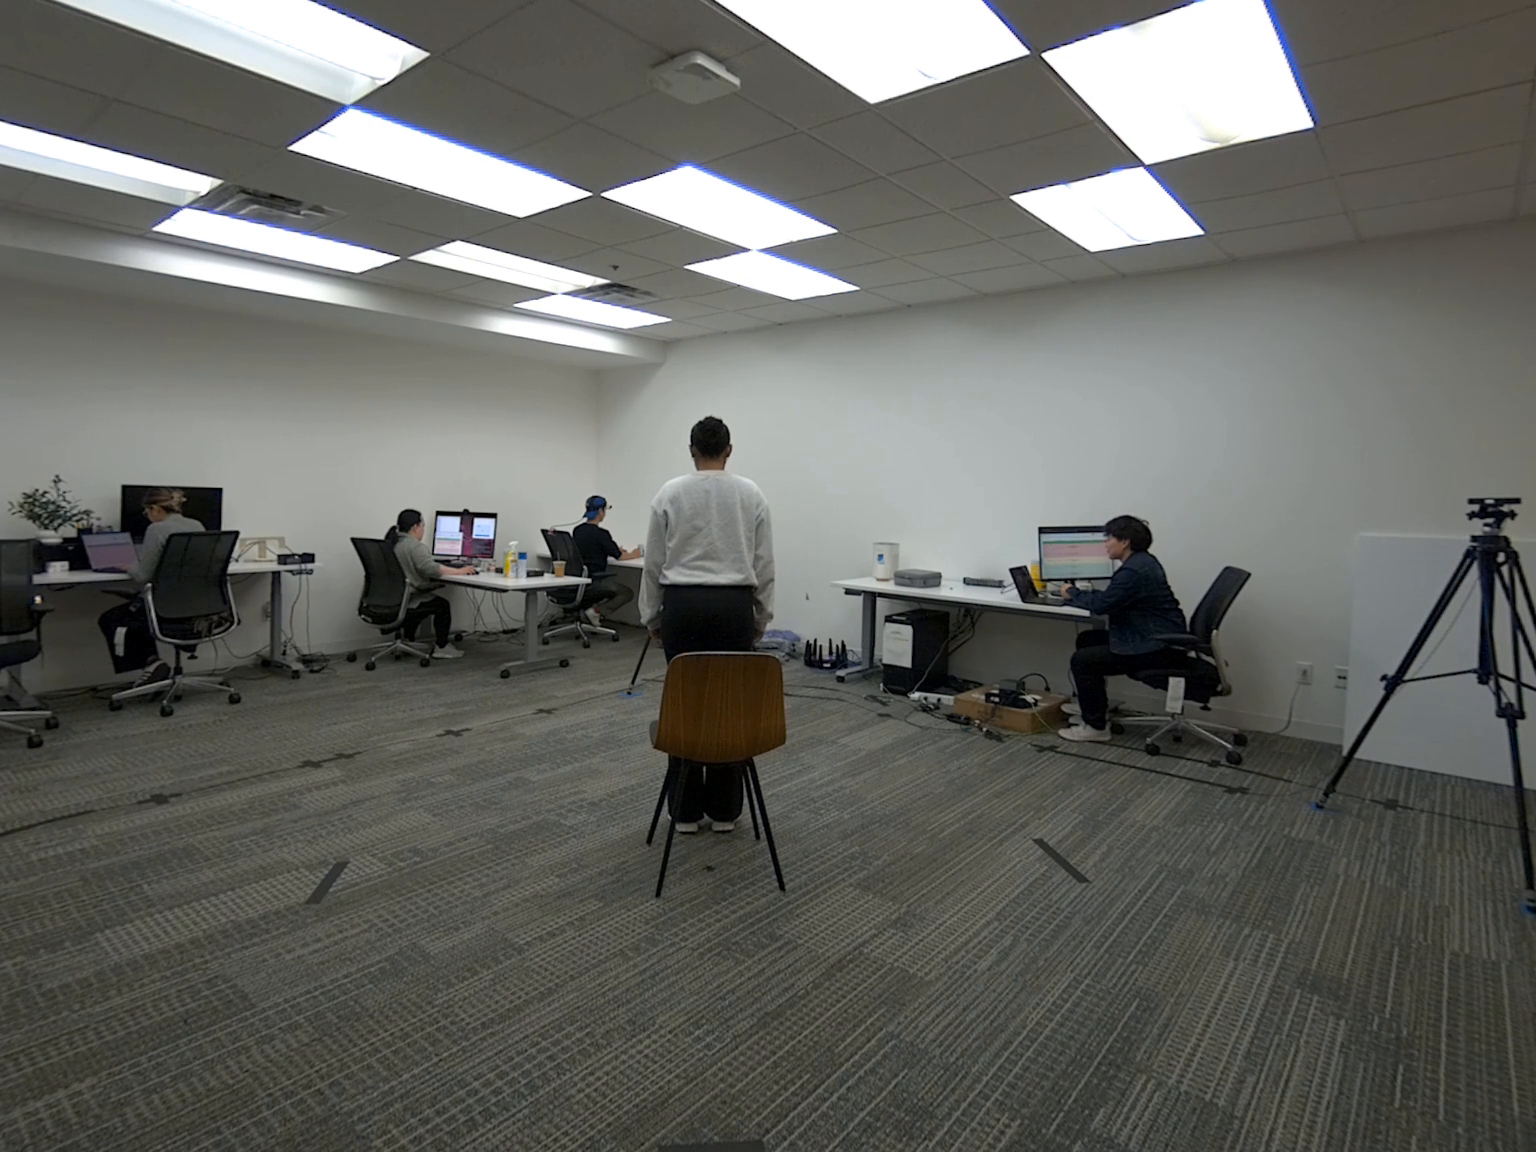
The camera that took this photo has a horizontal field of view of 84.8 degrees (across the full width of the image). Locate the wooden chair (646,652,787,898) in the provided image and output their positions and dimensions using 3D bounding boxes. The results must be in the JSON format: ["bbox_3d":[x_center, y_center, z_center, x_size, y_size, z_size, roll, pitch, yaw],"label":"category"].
[{"bbox_3d":[-0.209,0.636,3.106,0.473,0.872,0.533,0,7,-11],"label":"wooden chair"}]
